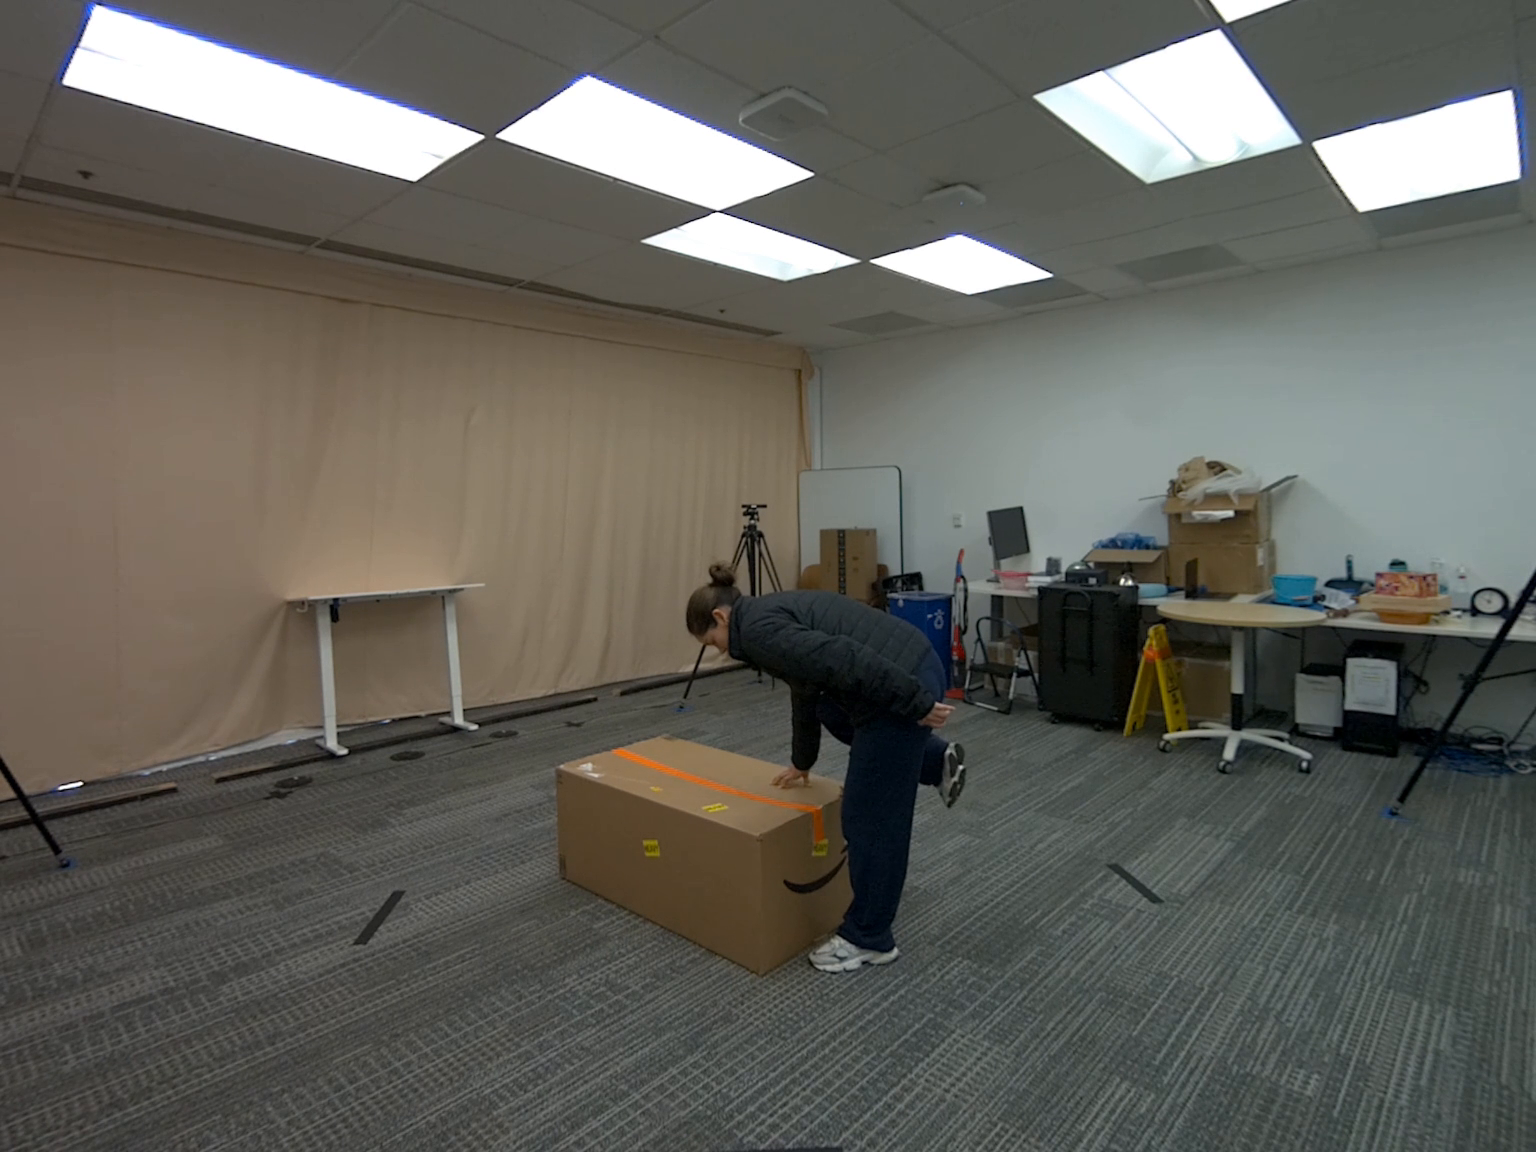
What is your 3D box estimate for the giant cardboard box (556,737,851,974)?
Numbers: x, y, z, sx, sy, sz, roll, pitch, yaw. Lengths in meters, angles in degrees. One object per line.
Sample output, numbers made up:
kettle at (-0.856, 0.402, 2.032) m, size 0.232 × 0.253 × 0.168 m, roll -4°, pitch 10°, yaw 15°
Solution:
giant cardboard box at (-0.211, 0.933, 3.032) m, size 1.061 × 0.446 × 0.566 m, roll 2°, pitch 4°, yaw 42°
